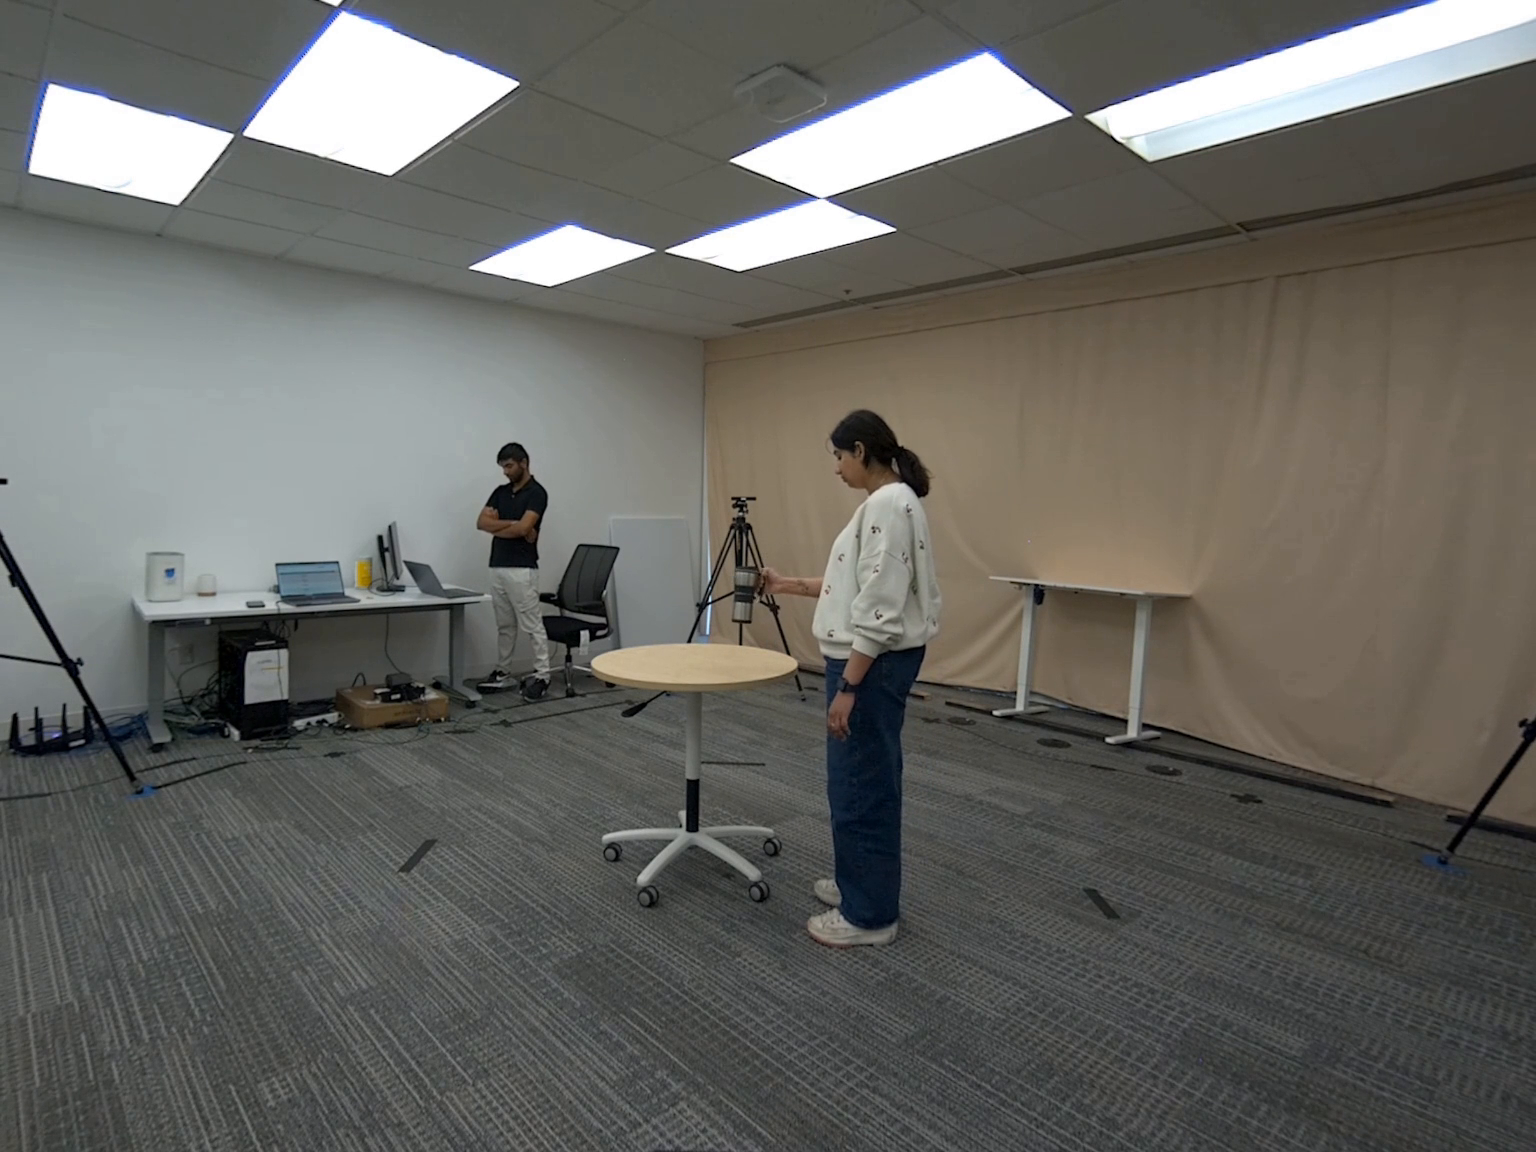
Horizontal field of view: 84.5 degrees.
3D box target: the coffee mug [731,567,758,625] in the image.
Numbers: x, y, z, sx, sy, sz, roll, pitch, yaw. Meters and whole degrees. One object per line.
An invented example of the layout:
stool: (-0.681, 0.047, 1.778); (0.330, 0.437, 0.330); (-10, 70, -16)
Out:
coffee mug: (-0.066, 0.068, 2.979); (0.123, 0.204, 0.086); (-1, -6, 13)
